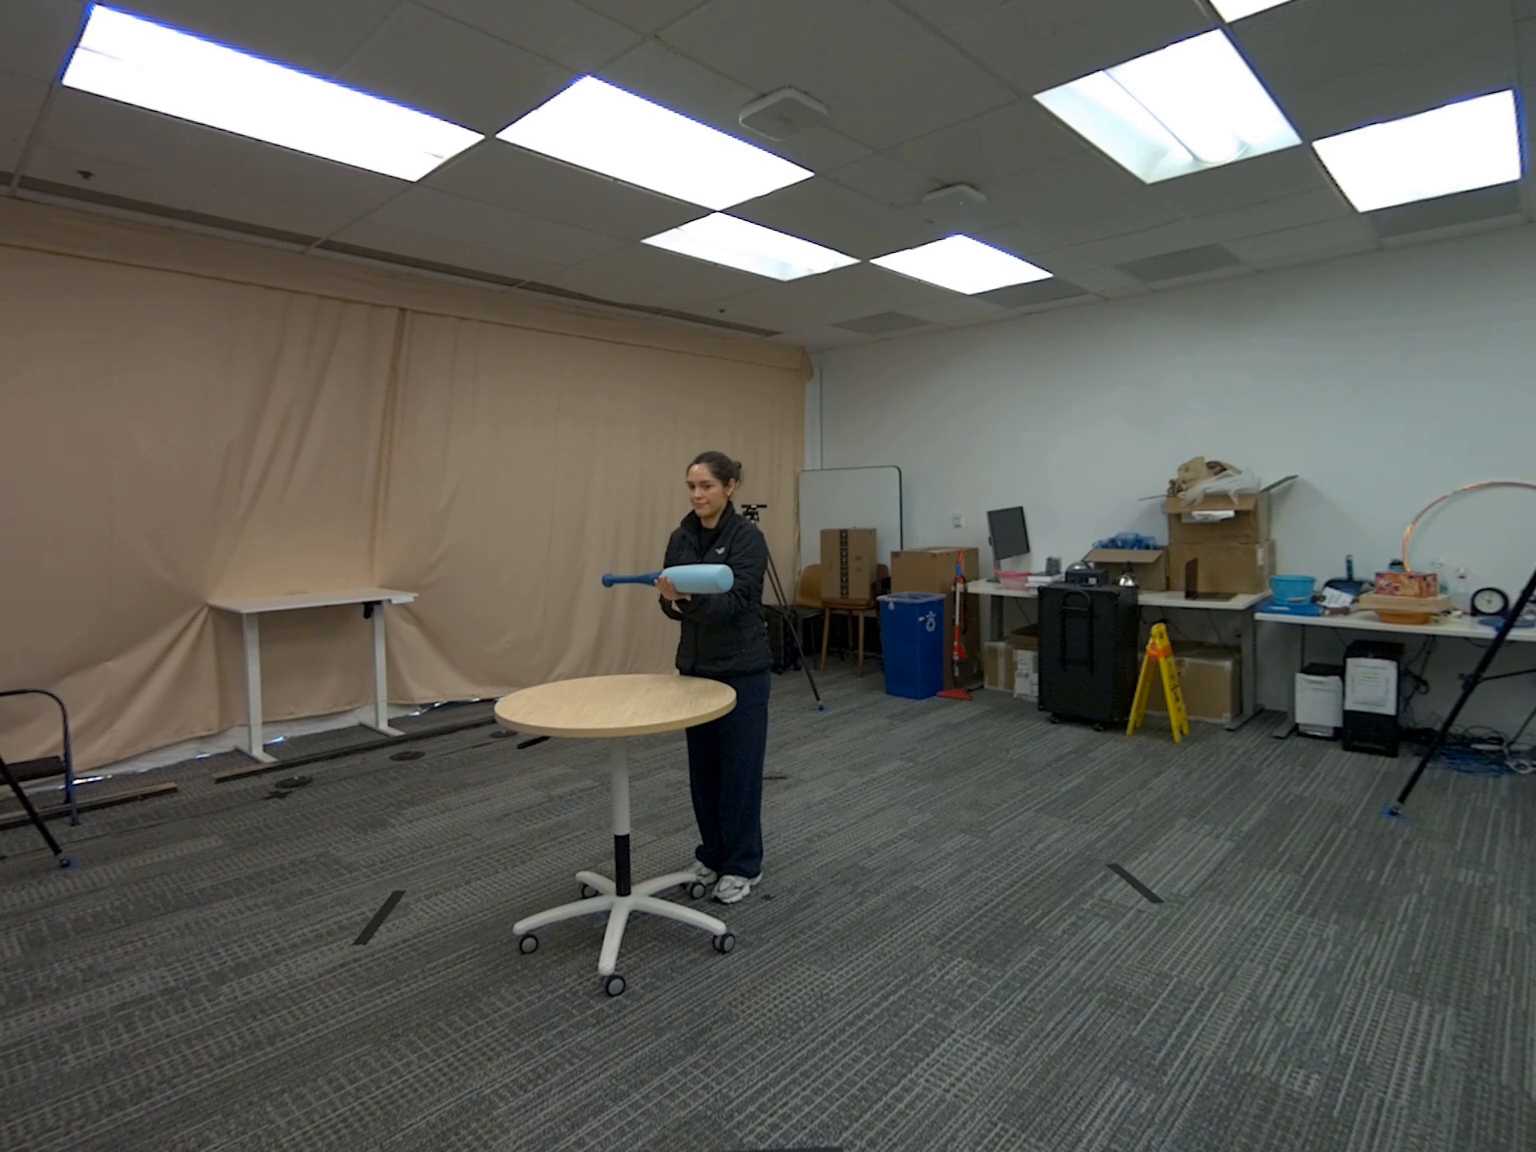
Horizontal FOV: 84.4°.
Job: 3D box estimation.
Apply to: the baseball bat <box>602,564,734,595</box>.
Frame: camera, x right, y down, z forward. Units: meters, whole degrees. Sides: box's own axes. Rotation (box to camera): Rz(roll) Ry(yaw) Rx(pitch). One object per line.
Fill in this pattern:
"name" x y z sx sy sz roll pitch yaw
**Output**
"baseball bat" -0.337 0.013 2.730 0.560 0.089 0.086 -1 3 40
